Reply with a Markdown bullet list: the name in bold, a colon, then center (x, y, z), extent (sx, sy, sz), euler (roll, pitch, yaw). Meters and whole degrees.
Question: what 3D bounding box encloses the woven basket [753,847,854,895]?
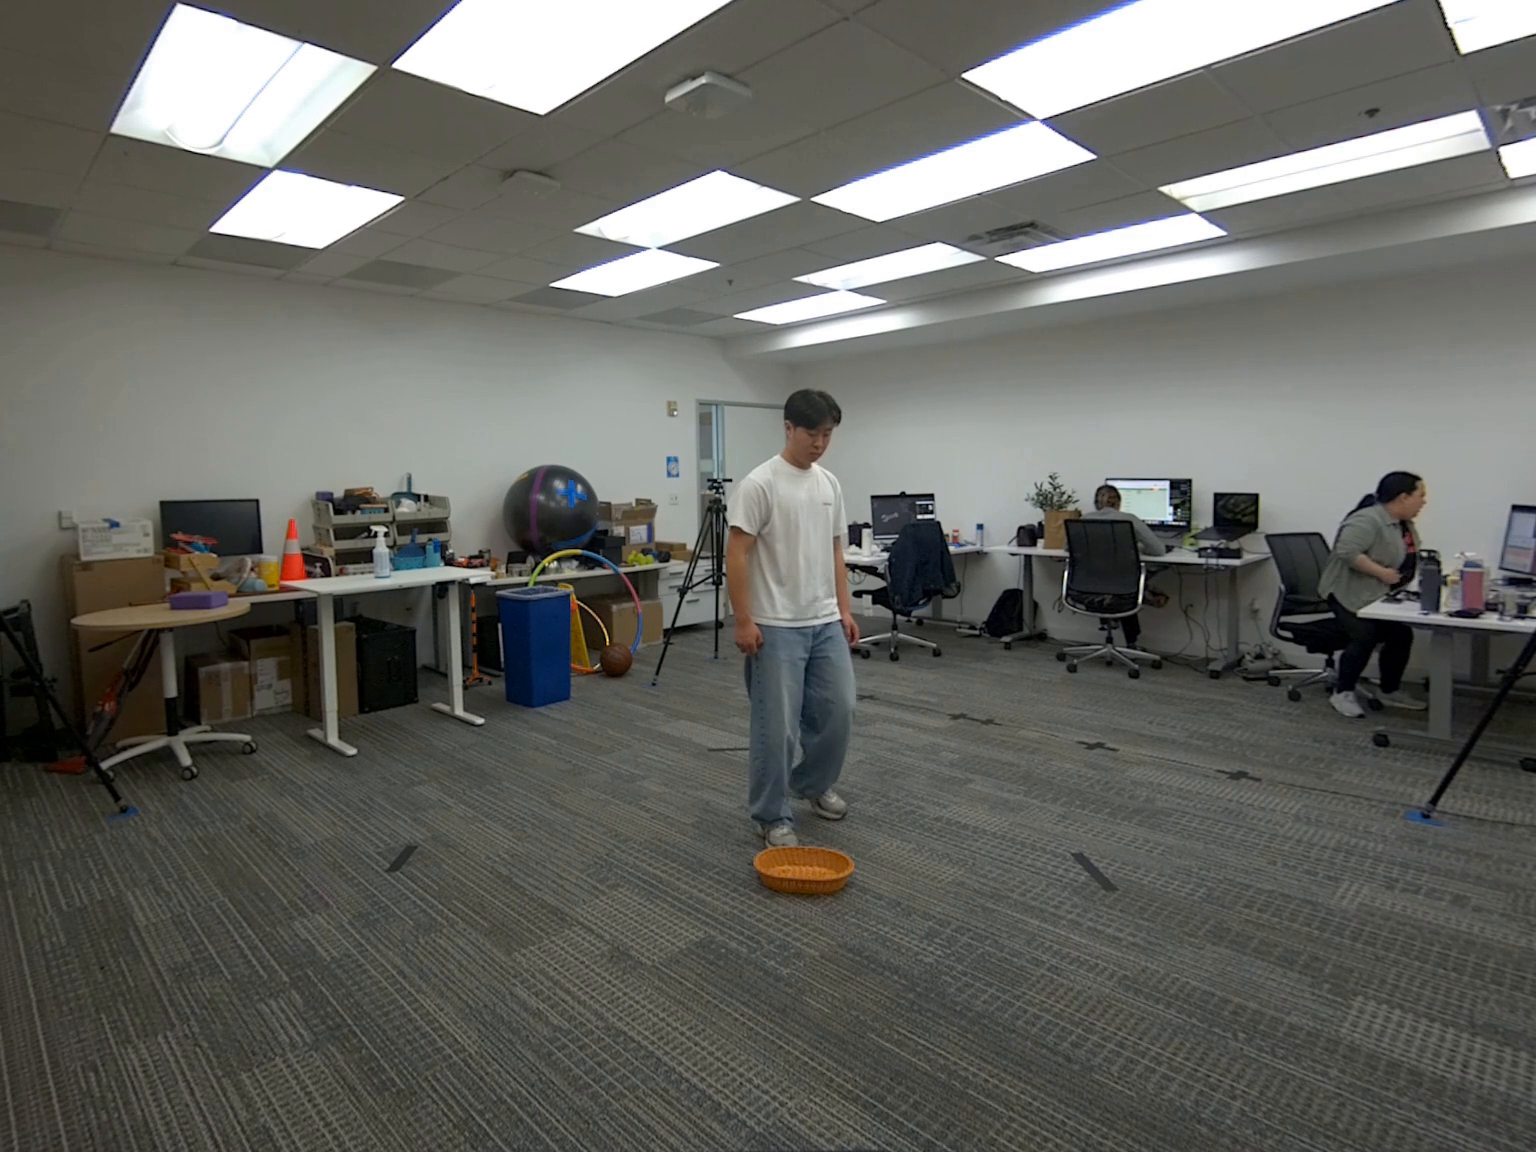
- **woven basket**: center (0.123, 1.025, 2.958), extent (0.355, 0.073, 0.250), euler (0, 6, 12)
